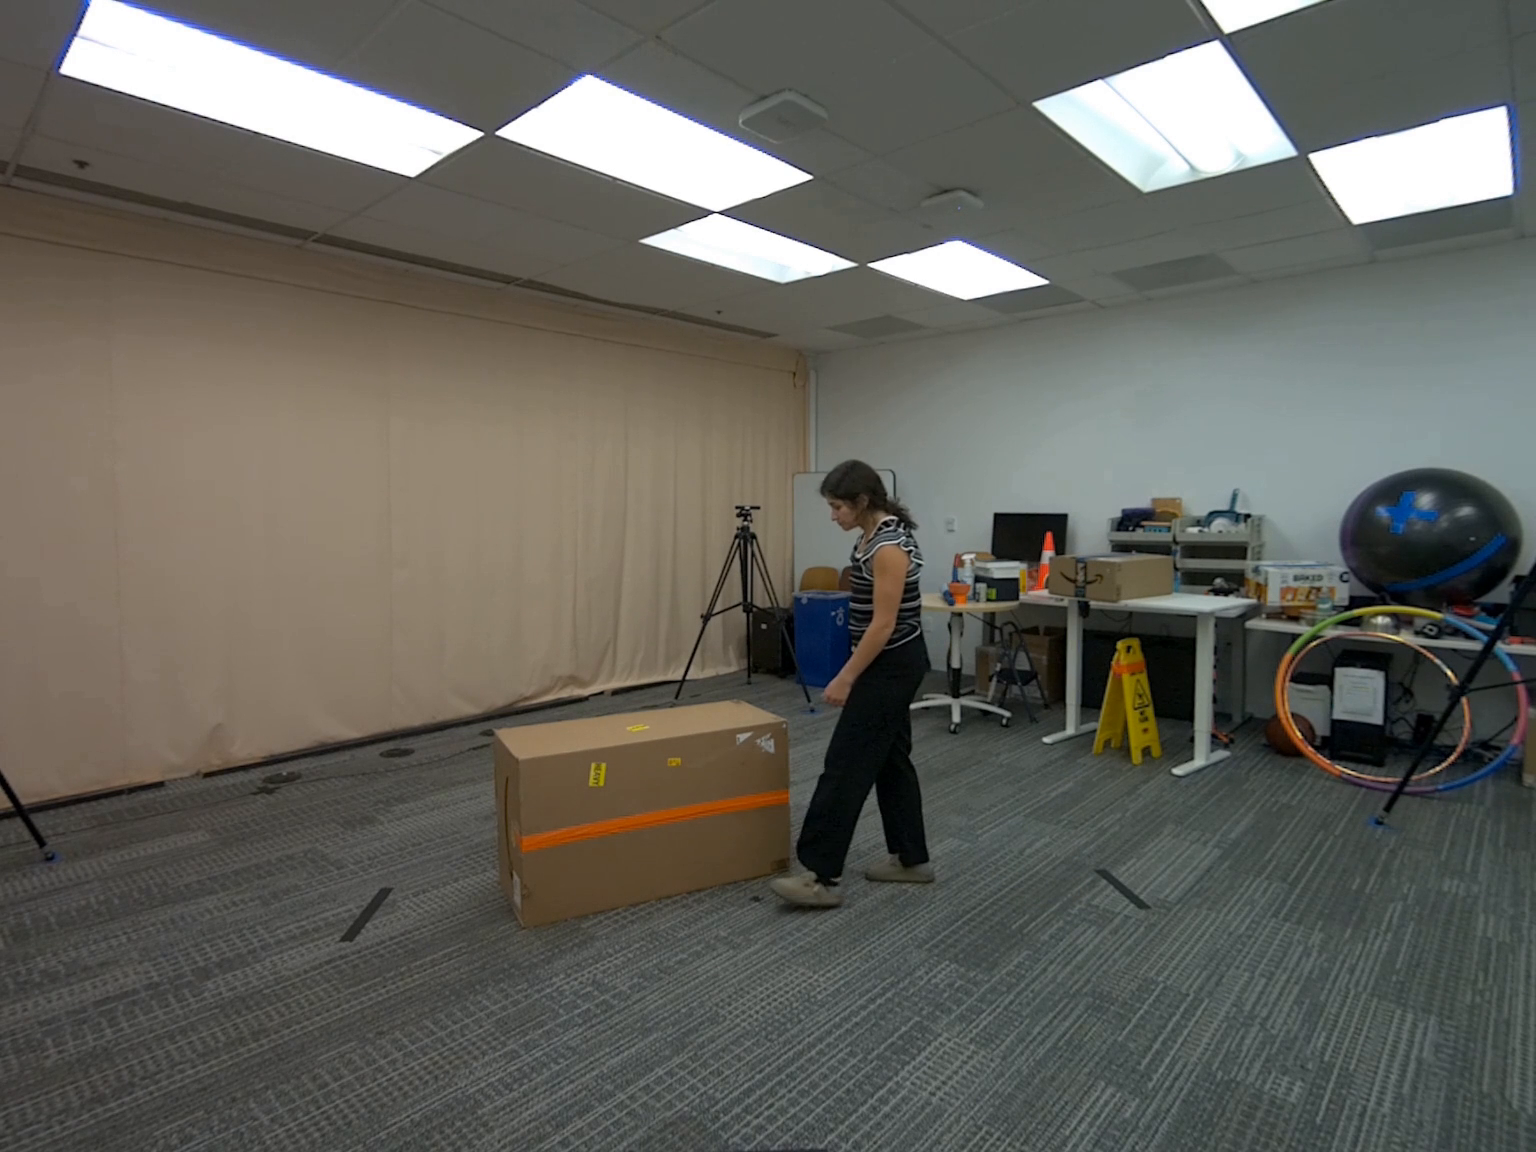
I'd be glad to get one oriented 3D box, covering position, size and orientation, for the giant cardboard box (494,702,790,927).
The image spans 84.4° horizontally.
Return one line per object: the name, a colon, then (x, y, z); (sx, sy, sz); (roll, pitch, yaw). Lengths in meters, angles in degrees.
giant cardboard box: (-0.468, 0.846, 3.174); (1.002, 0.576, 0.437); (-3, 4, -25)
